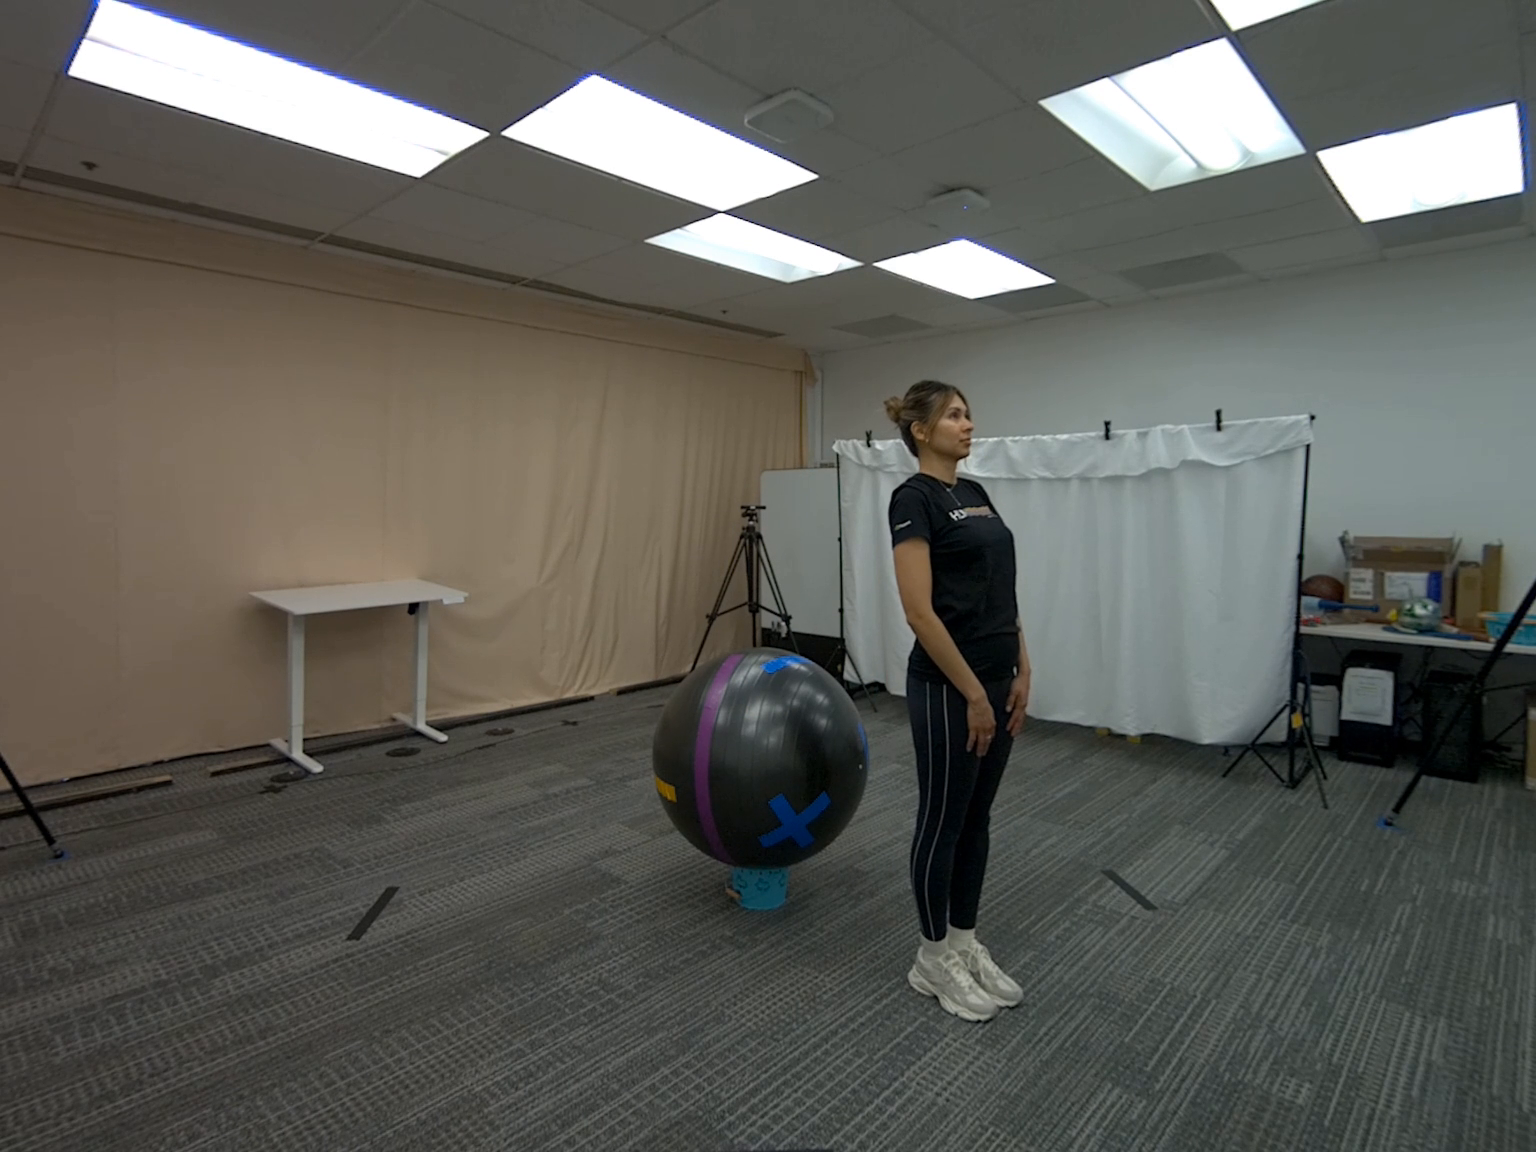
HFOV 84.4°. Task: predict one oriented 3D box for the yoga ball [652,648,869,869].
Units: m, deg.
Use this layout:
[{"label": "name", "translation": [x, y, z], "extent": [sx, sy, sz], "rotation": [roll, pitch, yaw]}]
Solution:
[{"label": "yoga ball", "translation": [-0.022, 0.632, 2.973], "extent": [0.757, 0.756, 0.760], "rotation": [0, 4, -2]}]
